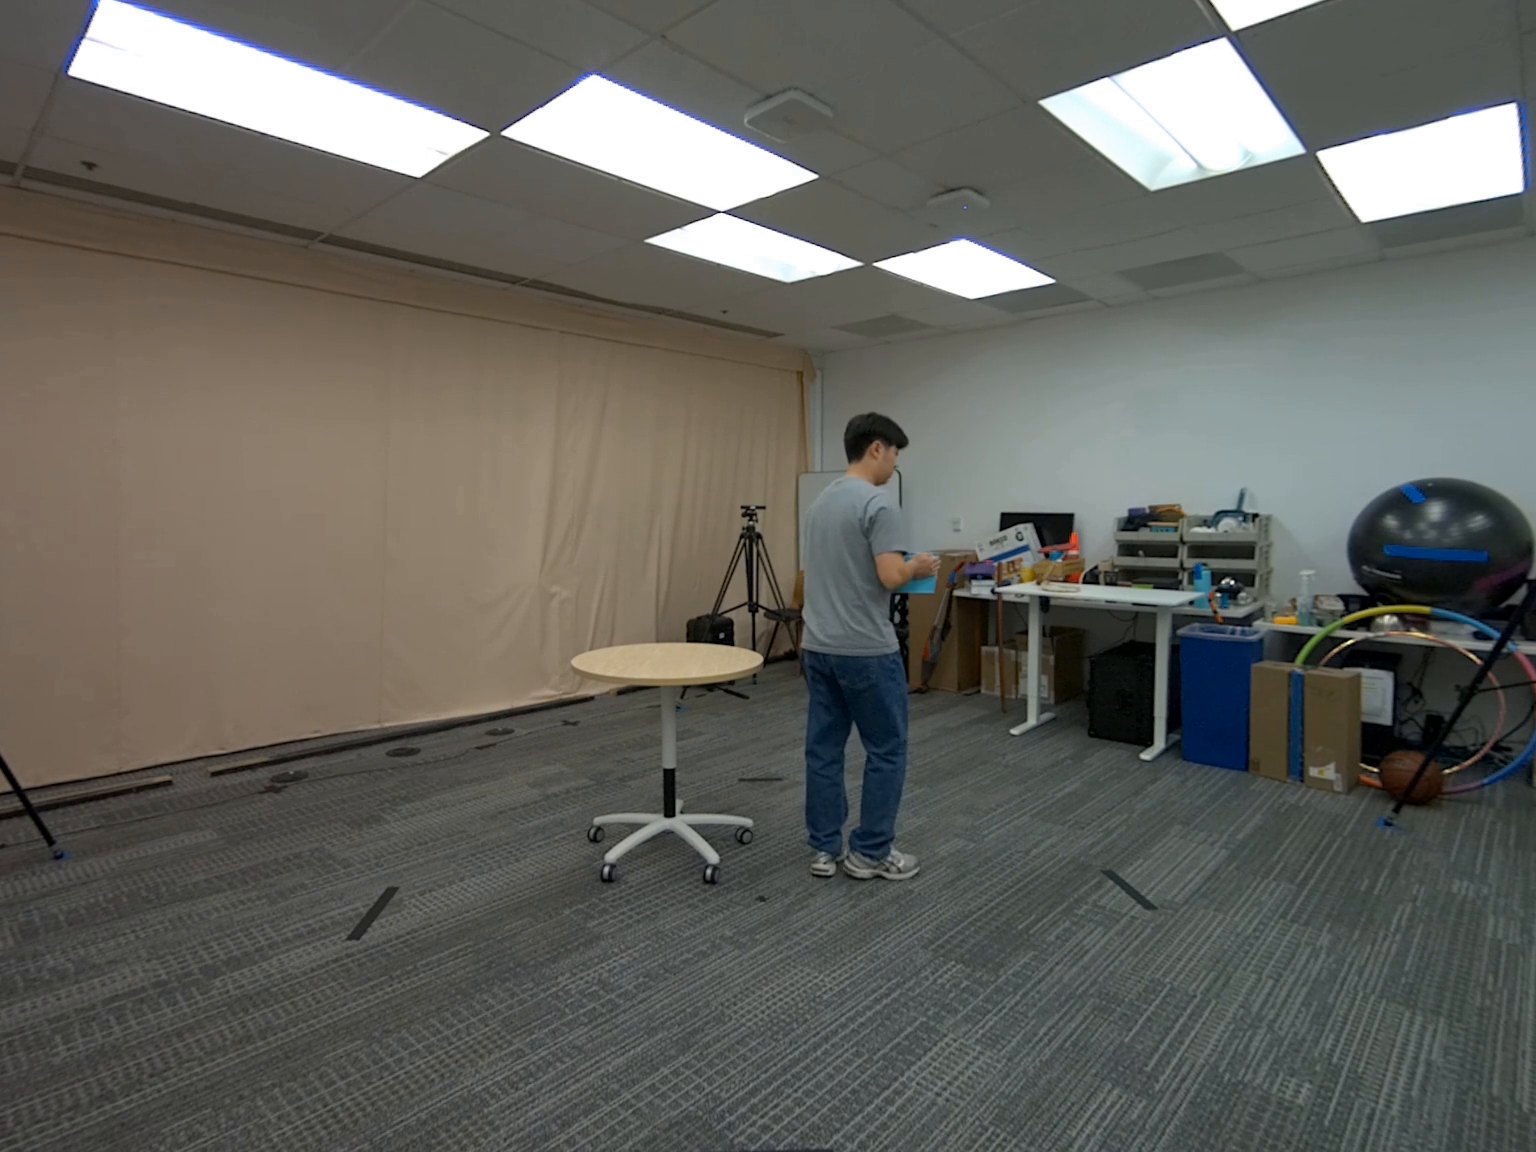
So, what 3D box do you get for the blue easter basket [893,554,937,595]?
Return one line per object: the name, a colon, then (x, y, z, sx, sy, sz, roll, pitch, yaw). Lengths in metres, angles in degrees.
blue easter basket: (0.562, -0.010, 3.294, 0.243, 0.156, 0.243, 1, -3, -2)
